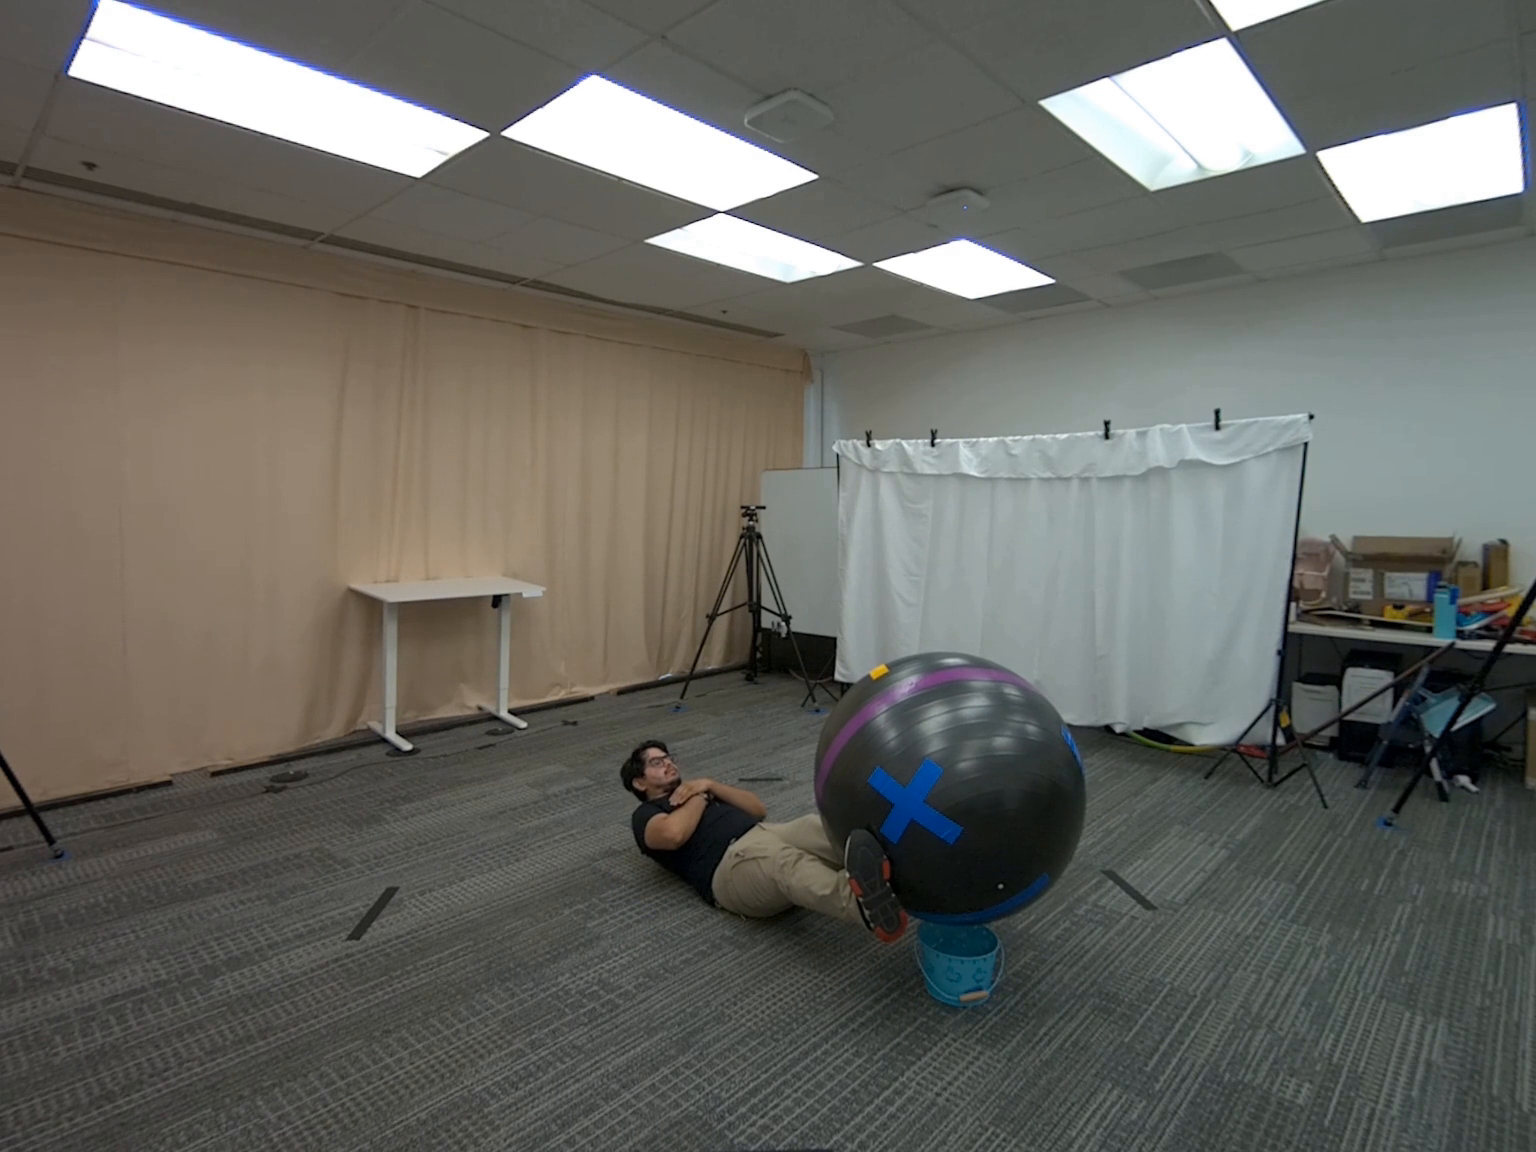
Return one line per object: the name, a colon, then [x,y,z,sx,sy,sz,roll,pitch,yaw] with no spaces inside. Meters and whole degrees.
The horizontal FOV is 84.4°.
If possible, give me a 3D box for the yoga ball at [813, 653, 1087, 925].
yoga ball: [0.519,0.606,2.451,0.757,0.756,0.760,0,4,-2]
